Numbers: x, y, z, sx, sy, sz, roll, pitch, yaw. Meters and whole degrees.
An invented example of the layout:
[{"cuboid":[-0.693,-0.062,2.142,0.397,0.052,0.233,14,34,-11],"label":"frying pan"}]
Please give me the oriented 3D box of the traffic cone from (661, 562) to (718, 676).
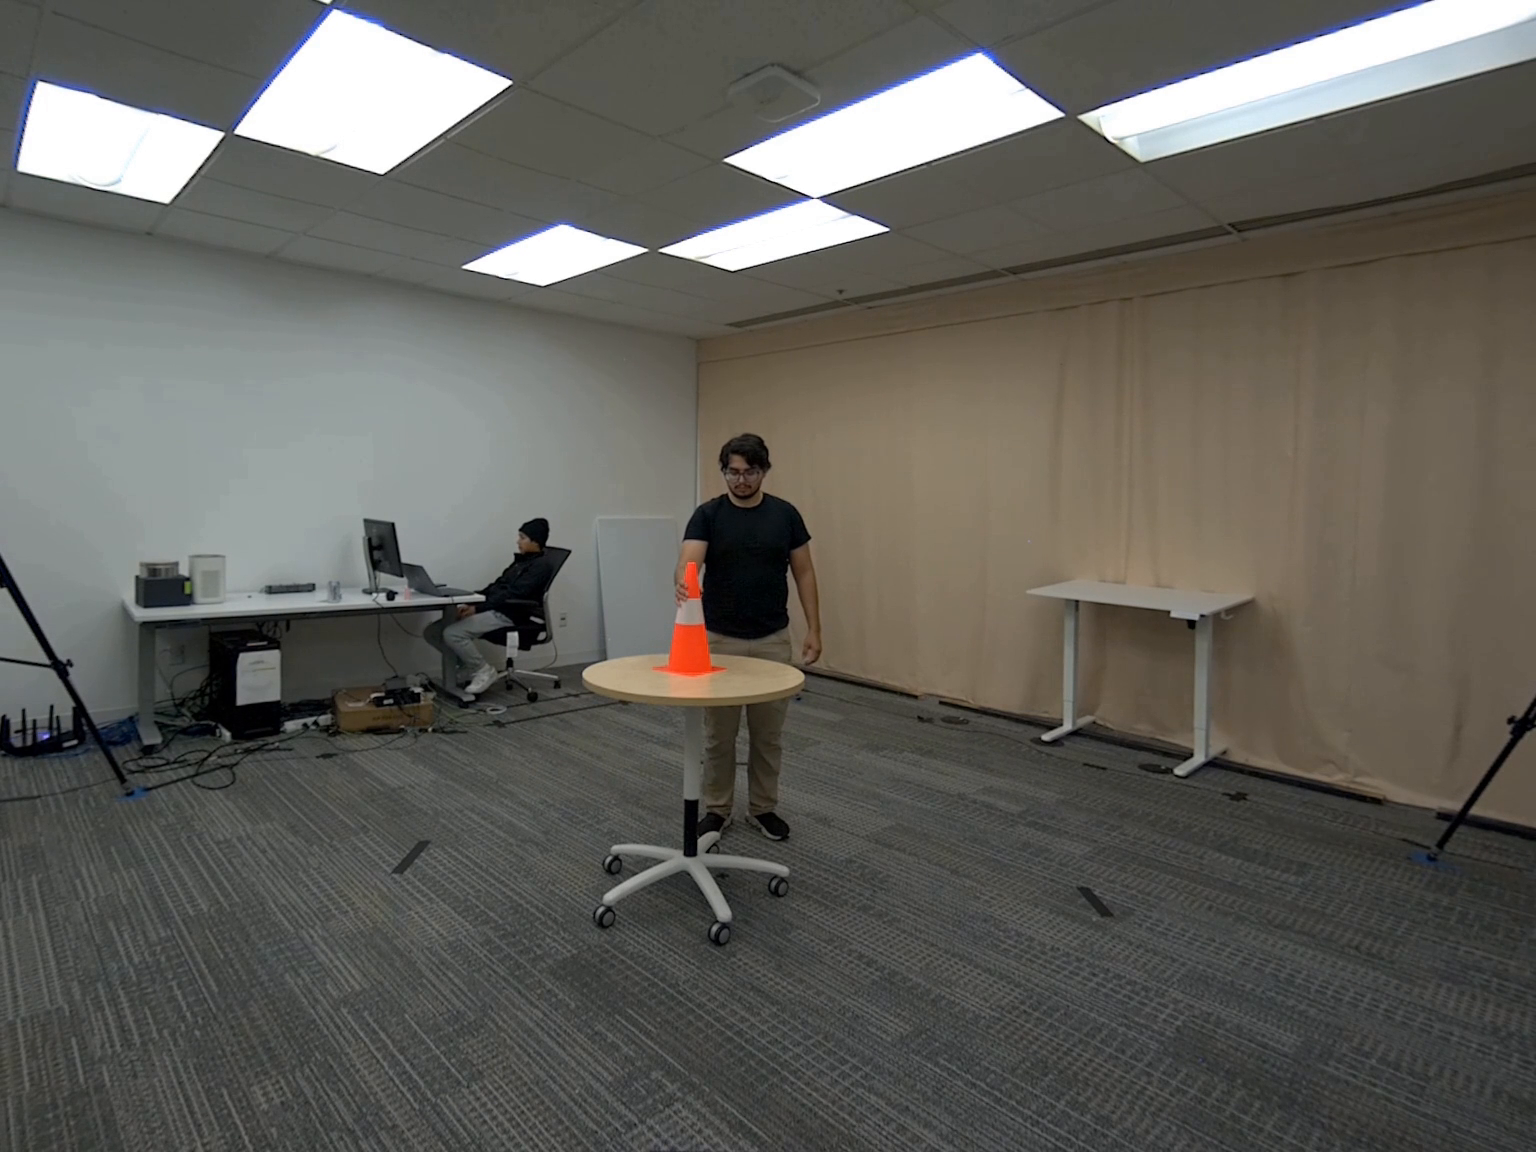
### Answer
[{"cuboid":[-0.284,0.145,2.973,0.208,0.383,0.200,4,5,35],"label":"traffic cone"}]
